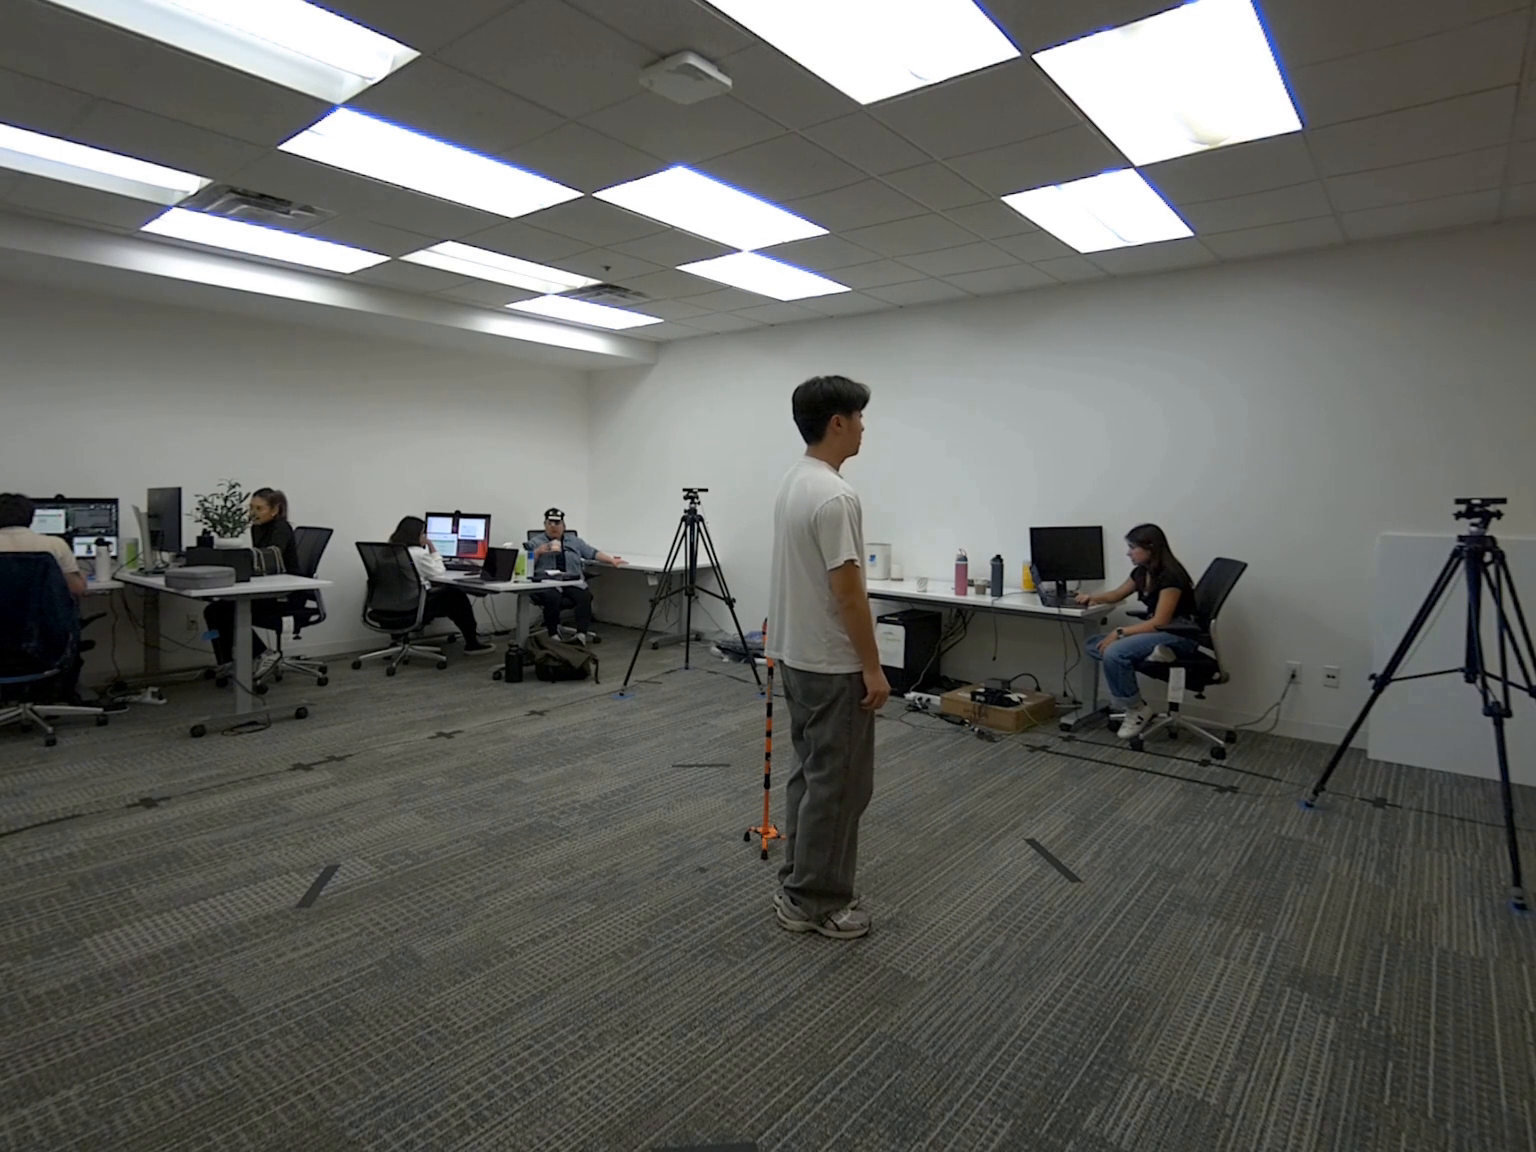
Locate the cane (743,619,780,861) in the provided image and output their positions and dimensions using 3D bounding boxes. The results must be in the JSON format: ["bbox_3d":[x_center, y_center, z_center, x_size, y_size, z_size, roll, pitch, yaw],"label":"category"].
[{"bbox_3d":[0.011,0.598,3.293,0.148,0.906,0.211,-1,3,-23],"label":"cane"}]
